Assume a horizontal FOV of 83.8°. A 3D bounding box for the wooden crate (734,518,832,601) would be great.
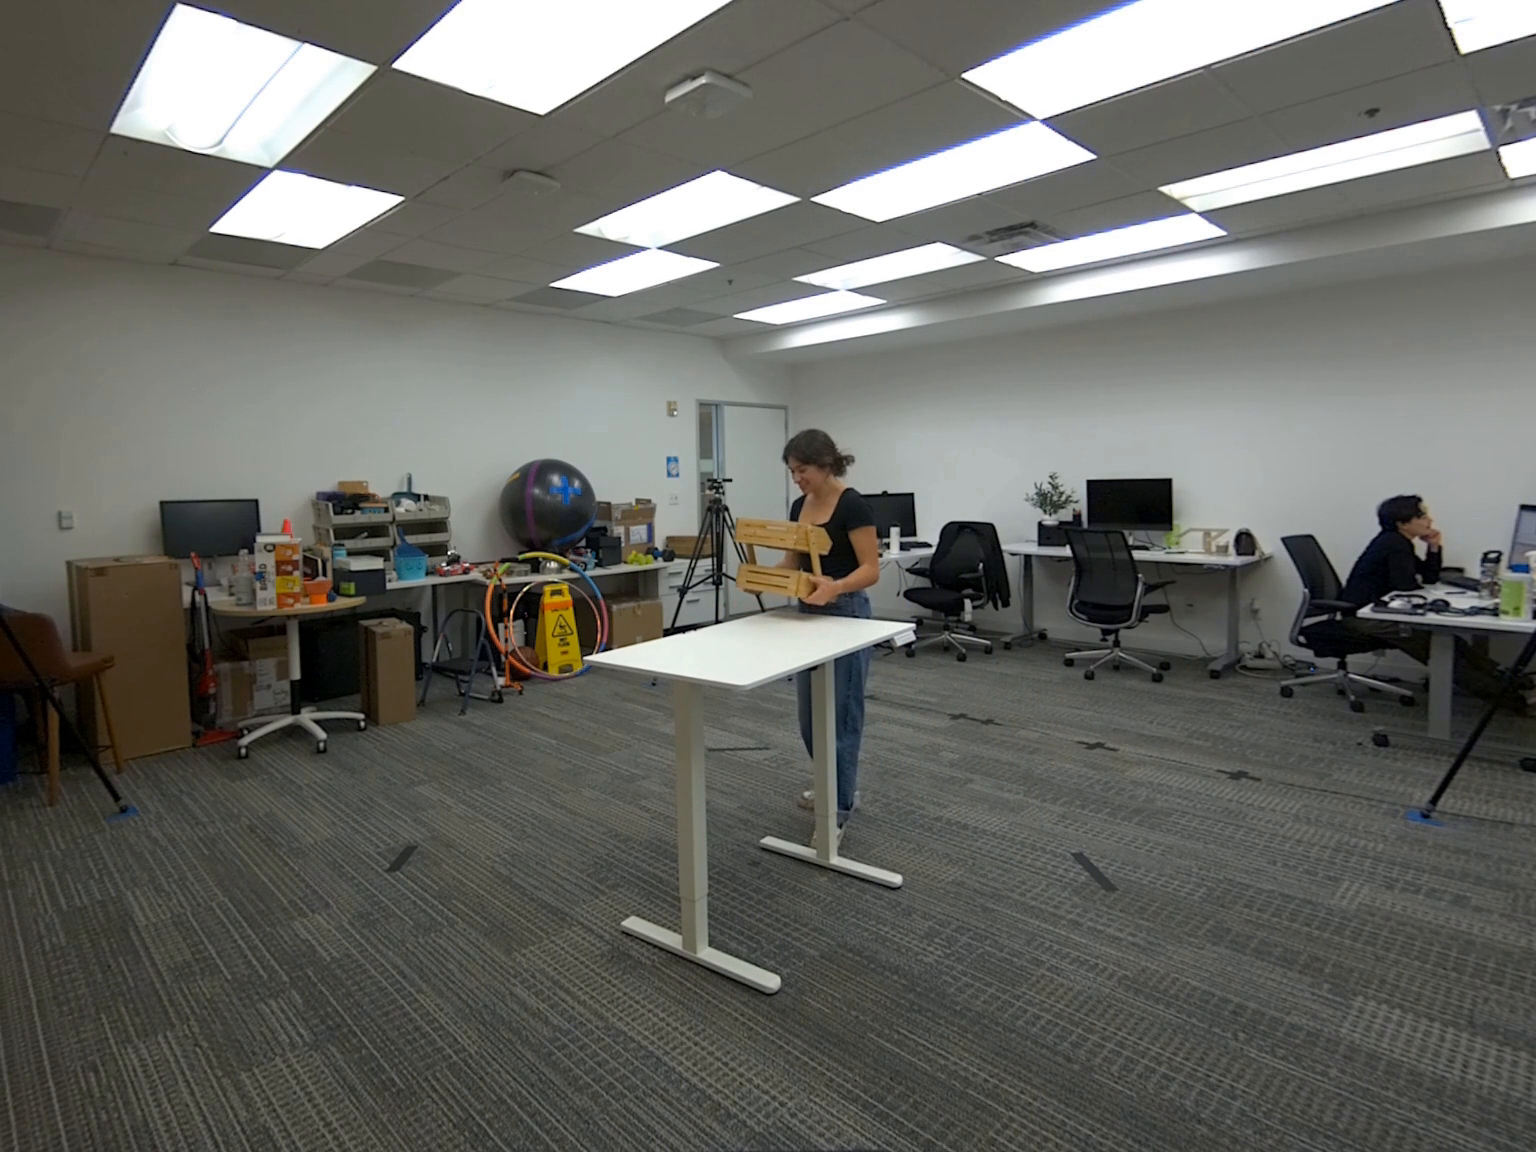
[{"bbox_3d":[0.071,-0.061,3.198,0.335,0.274,0.292,7,-2,42],"label":"wooden crate"}]
